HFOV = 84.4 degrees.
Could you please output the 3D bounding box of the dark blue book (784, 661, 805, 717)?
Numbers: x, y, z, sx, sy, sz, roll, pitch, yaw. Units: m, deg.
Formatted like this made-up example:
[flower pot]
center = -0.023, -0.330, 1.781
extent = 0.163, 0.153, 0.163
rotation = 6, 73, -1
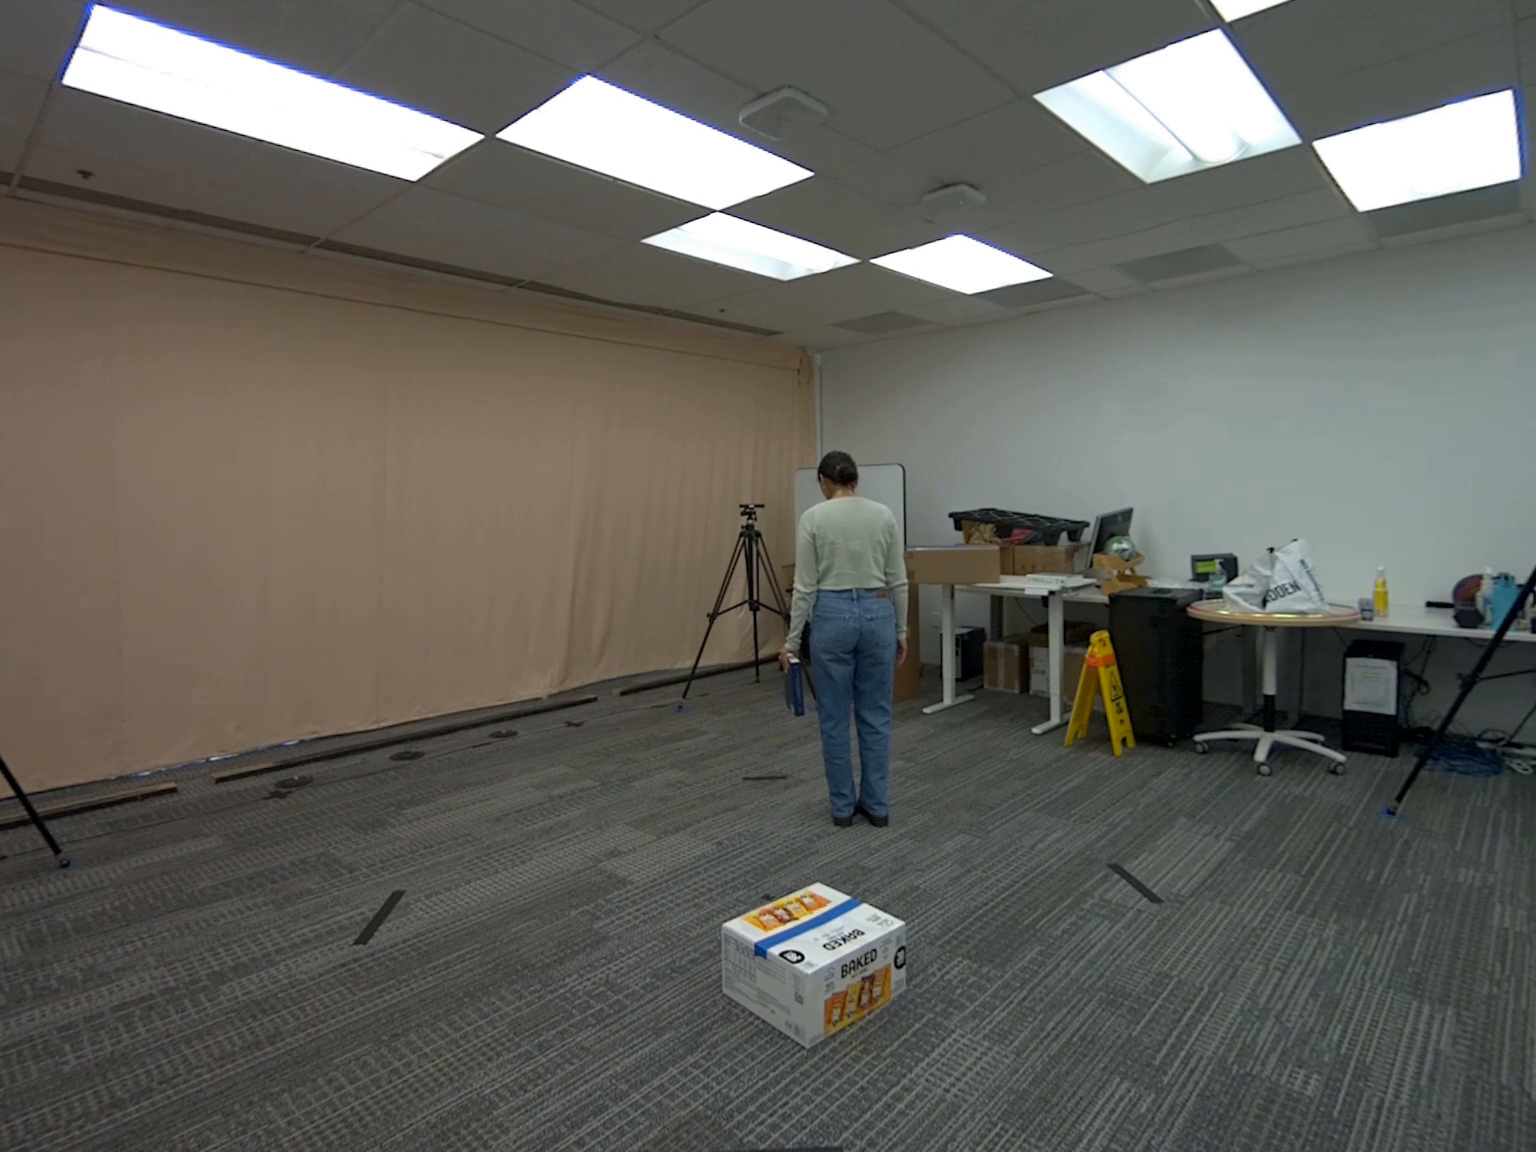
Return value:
[dark blue book]
center = 0.119, 0.472, 3.697
extent = 0.045, 0.244, 0.166
rotation = -5, 9, -10
